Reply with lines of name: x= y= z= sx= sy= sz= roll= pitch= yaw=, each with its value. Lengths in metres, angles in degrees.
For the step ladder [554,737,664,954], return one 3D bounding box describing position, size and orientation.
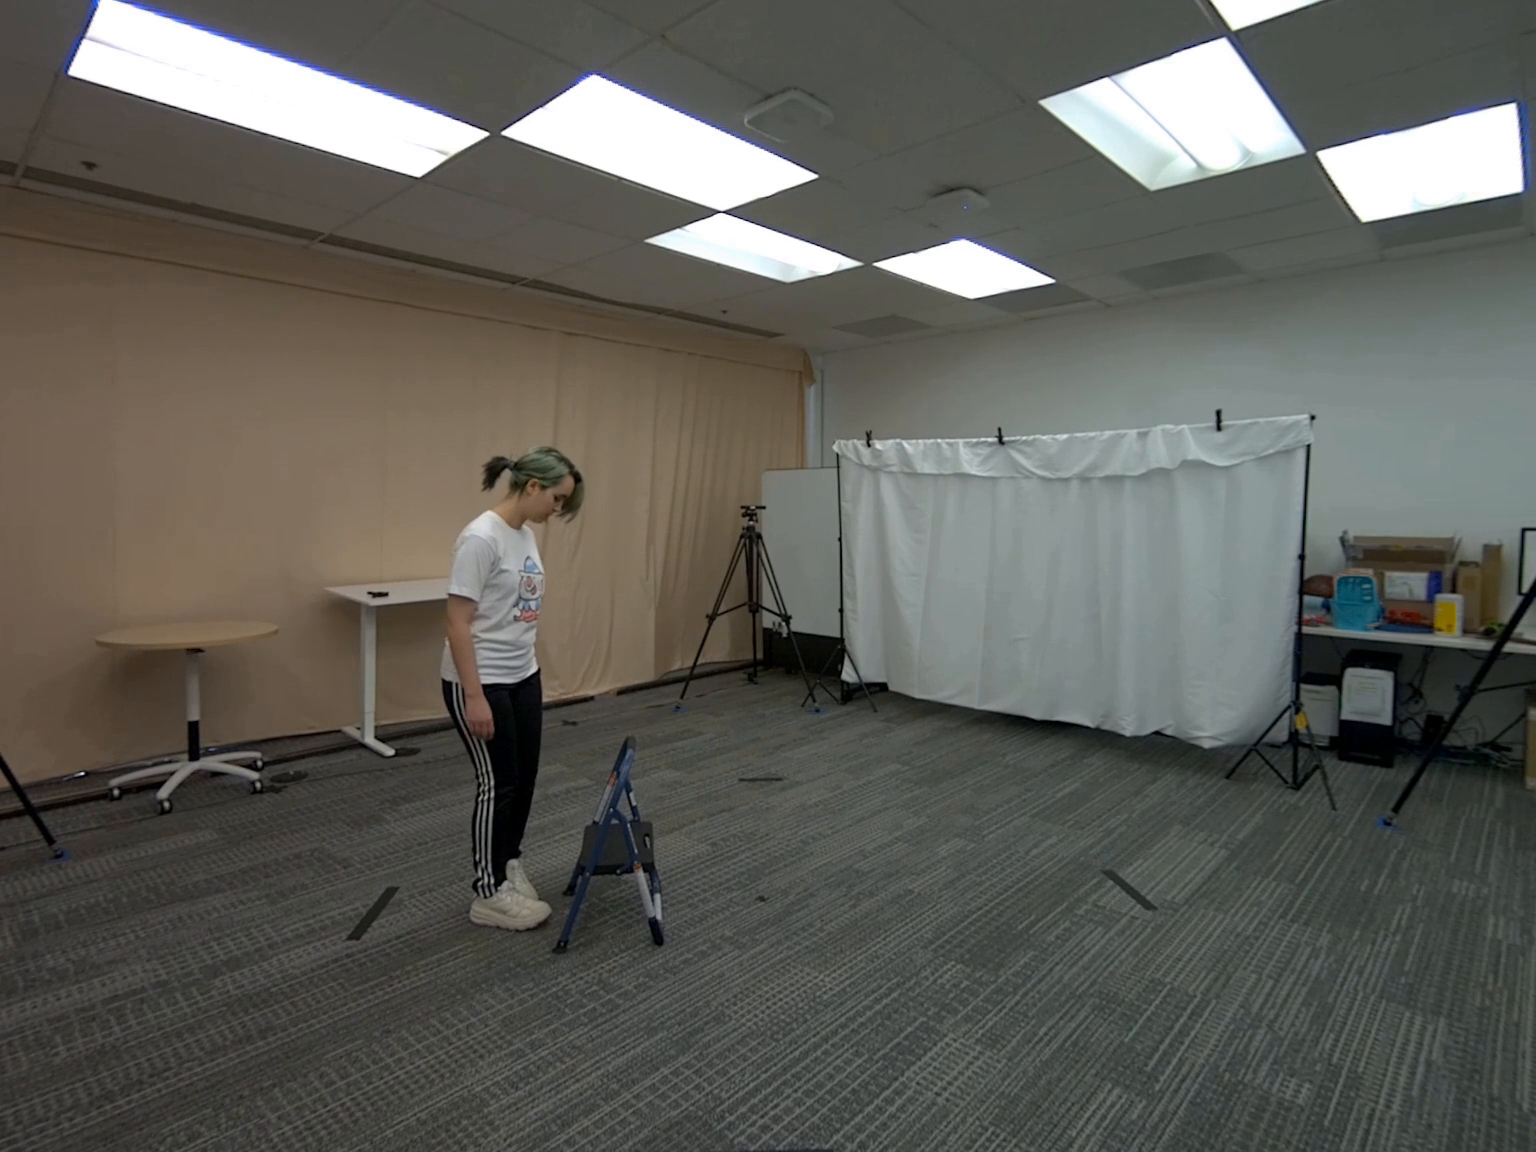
step ladder: x=-0.533 y=0.862 z=2.832 sx=0.347 sy=0.605 sz=0.434 roll=-1 pitch=3 yaw=-7
